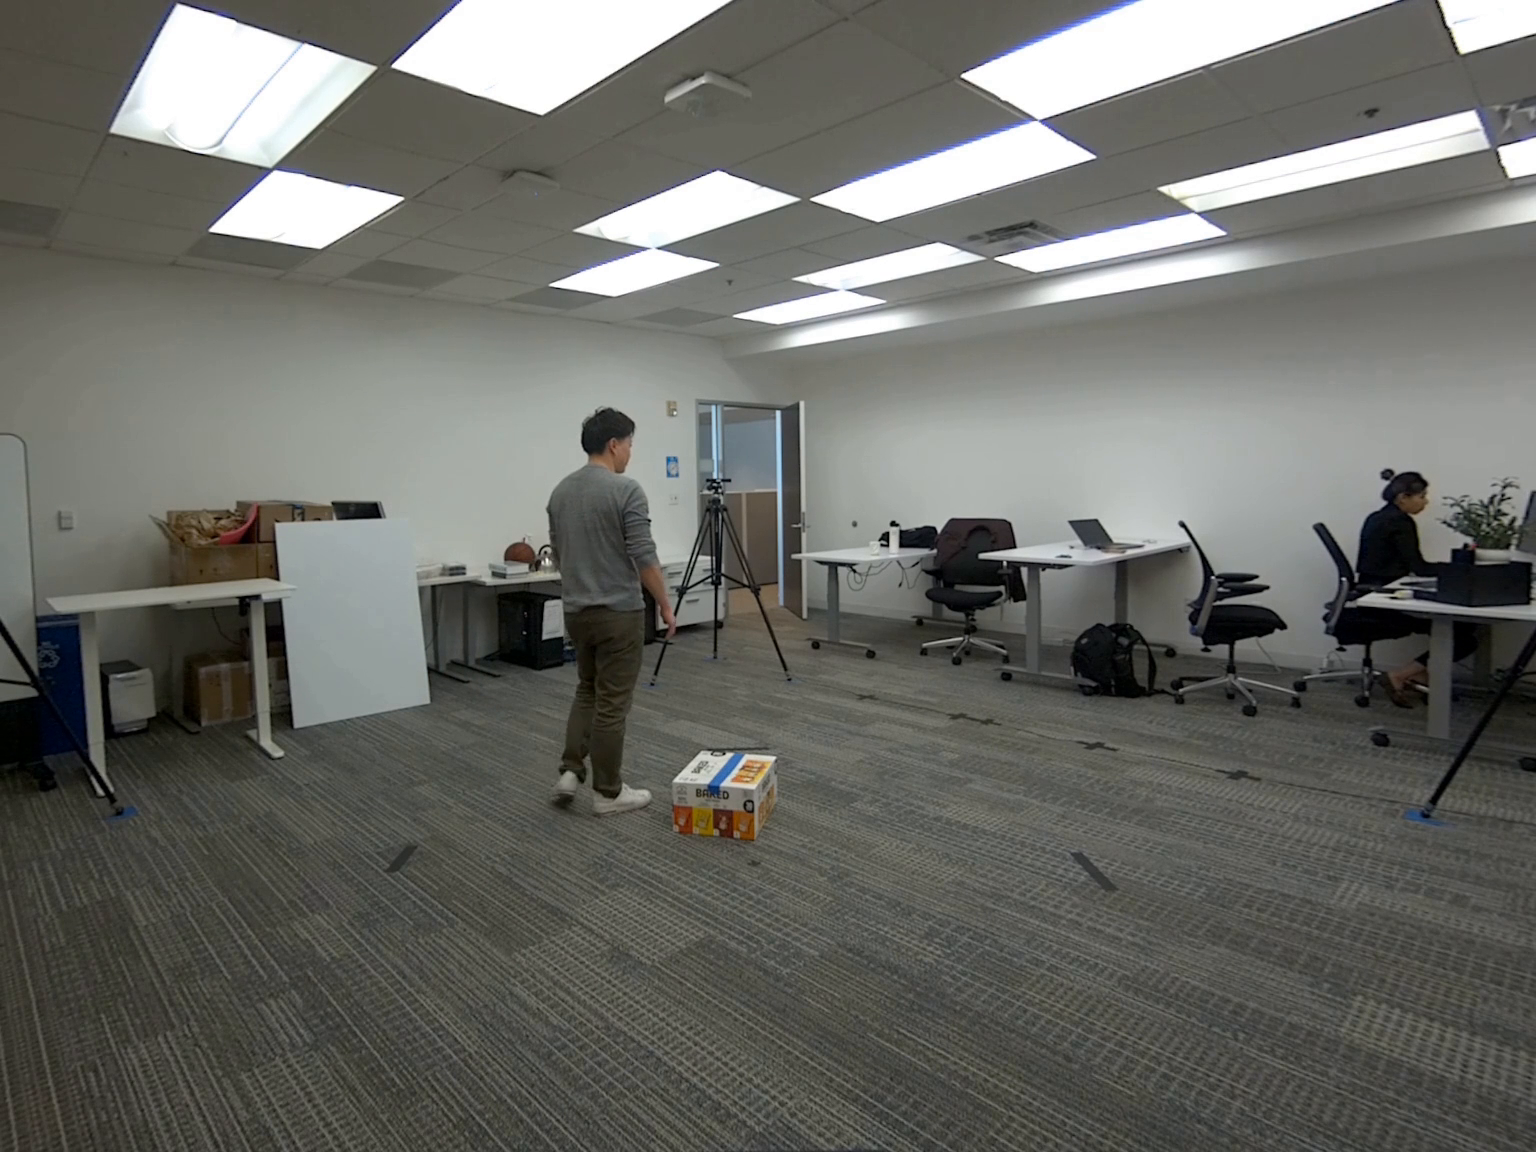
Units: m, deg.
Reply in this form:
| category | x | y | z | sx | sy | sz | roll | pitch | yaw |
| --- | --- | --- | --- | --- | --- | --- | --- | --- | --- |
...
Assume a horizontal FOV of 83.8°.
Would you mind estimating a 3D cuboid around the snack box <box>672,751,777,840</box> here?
| category | x | y | z | sx | sy | sz | roll | pitch | yaw |
| --- | --- | --- | --- | --- | --- | --- | --- | --- | --- |
| snack box | -0.175 | 0.901 | 3.536 | 0.345 | 0.205 | 0.401 | 0 | 6 | 15 |
